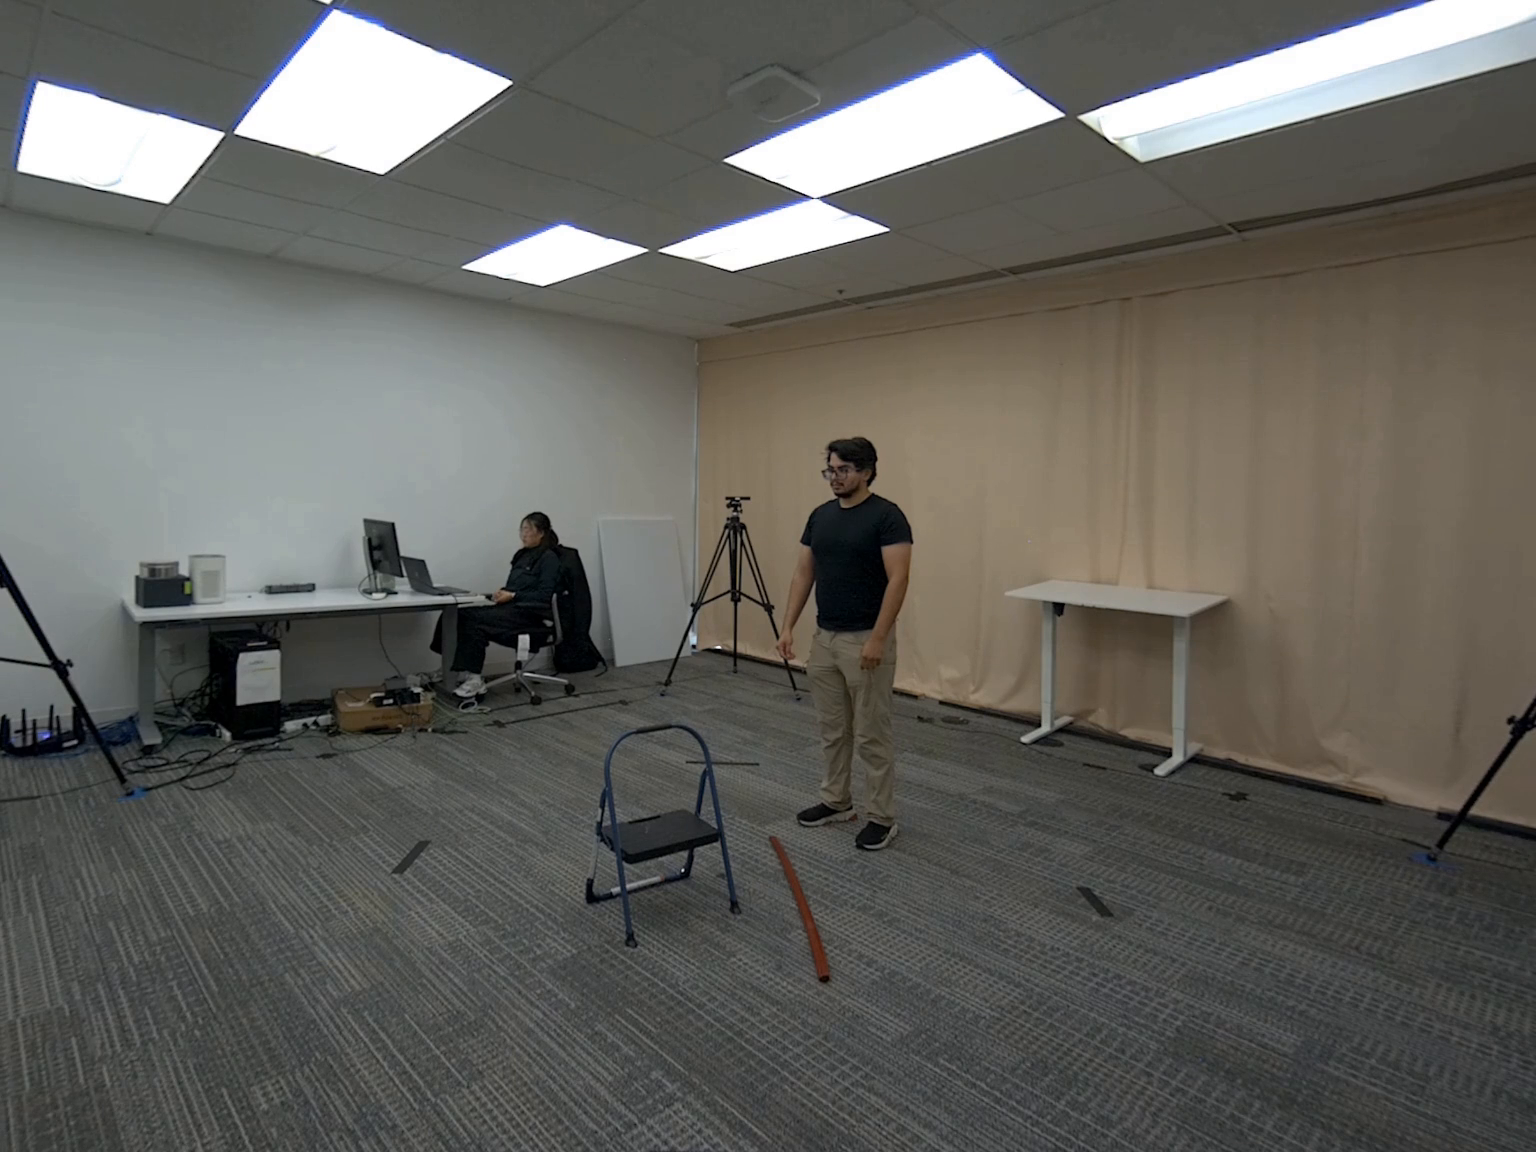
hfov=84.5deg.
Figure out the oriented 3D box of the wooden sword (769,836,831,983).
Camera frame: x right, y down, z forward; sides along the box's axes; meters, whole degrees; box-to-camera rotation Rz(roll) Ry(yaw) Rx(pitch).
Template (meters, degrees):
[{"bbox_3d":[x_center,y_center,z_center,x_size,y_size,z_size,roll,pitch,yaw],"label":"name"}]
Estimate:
[{"bbox_3d":[0.090,1.098,2.949,0.051,0.024,1.033,-36,9,-3],"label":"wooden sword"}]
